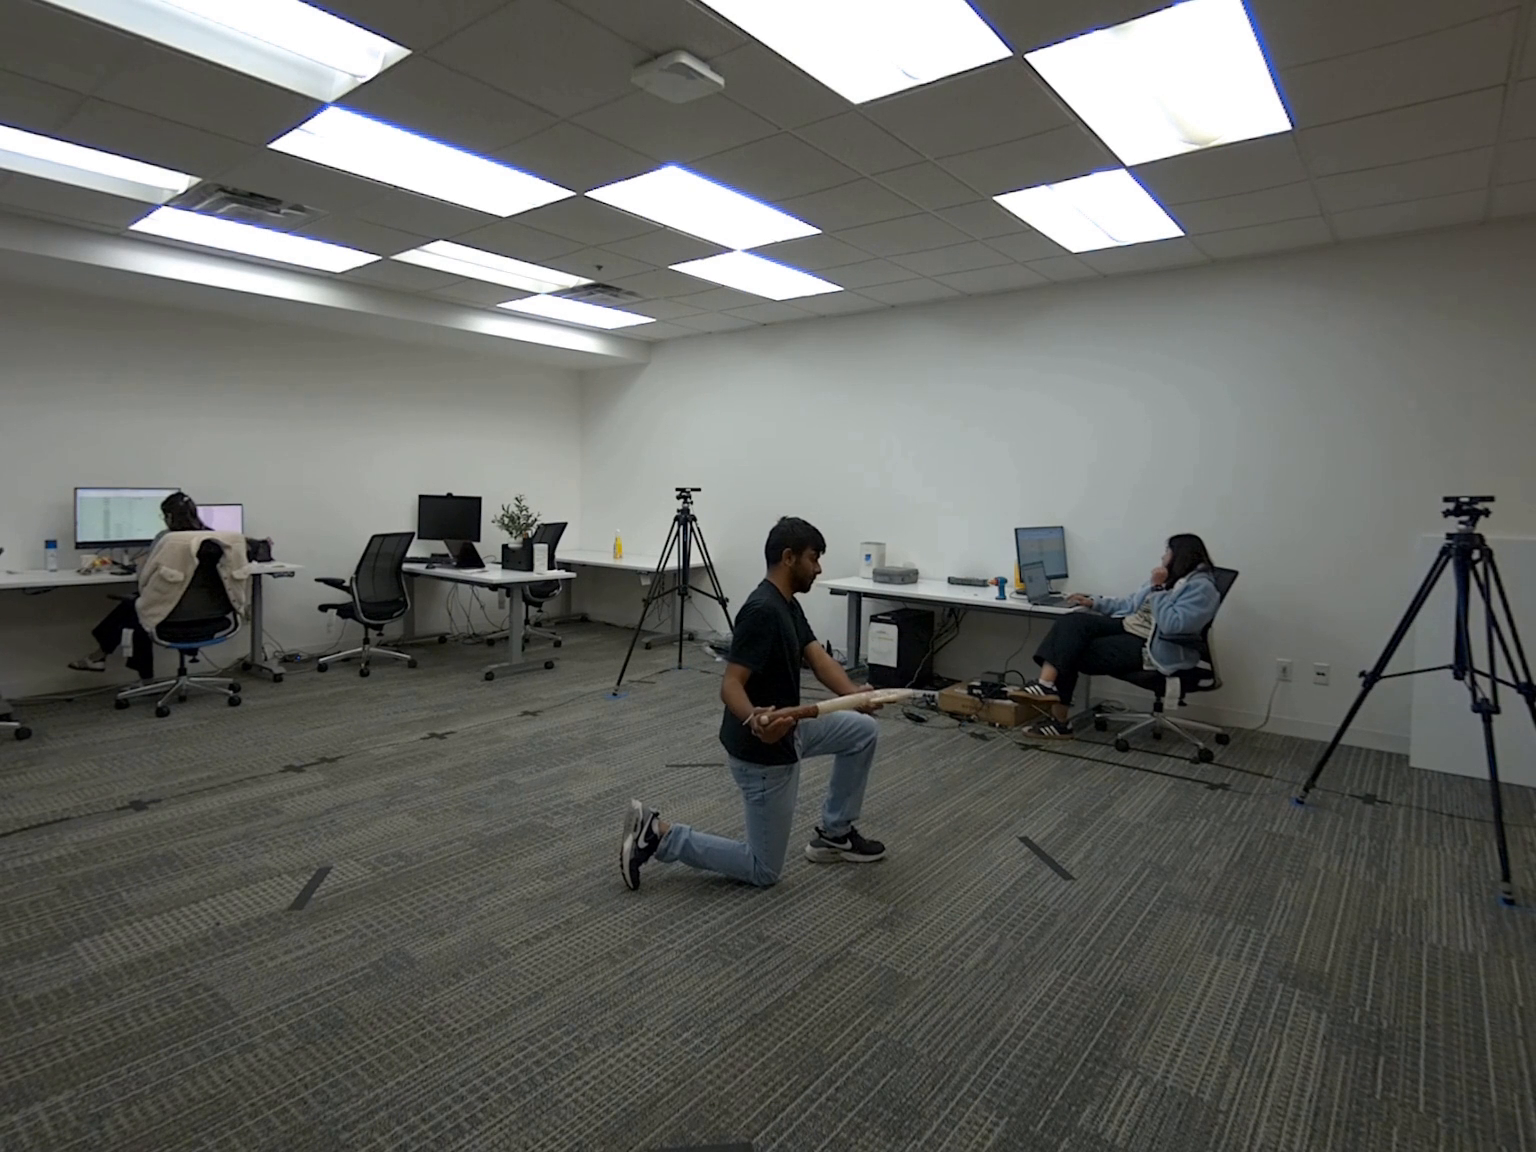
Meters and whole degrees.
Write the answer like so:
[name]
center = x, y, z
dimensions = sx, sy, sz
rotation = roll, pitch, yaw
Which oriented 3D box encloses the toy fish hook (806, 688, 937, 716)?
[toy fish hook]
center = 0.224, 0.380, 2.536
dimensions = 0.494, 0.049, 0.227
rotation = -6, -11, -29
